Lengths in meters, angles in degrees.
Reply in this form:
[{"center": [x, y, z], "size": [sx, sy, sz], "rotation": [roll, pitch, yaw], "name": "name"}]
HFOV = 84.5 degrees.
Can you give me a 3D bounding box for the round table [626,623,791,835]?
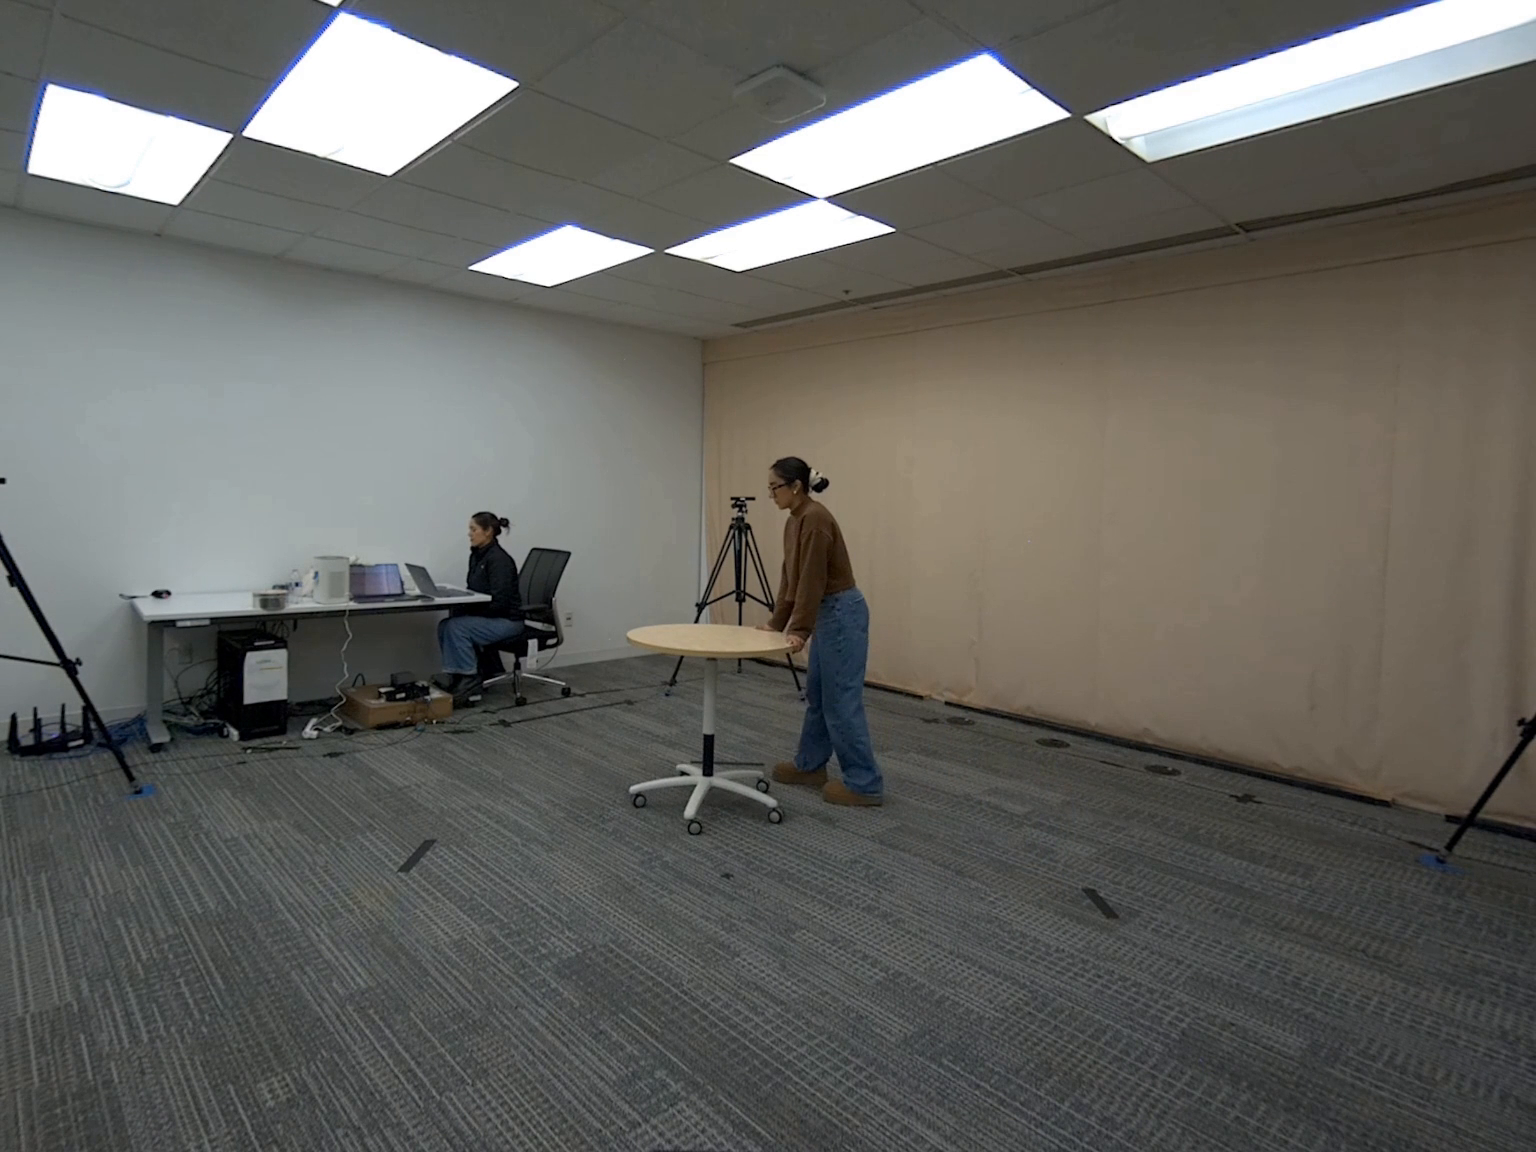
[{"center": [-0.261, 0.658, 3.796], "size": [0.763, 0.792, 0.766], "rotation": [2, 4, -2], "name": "round table"}]
